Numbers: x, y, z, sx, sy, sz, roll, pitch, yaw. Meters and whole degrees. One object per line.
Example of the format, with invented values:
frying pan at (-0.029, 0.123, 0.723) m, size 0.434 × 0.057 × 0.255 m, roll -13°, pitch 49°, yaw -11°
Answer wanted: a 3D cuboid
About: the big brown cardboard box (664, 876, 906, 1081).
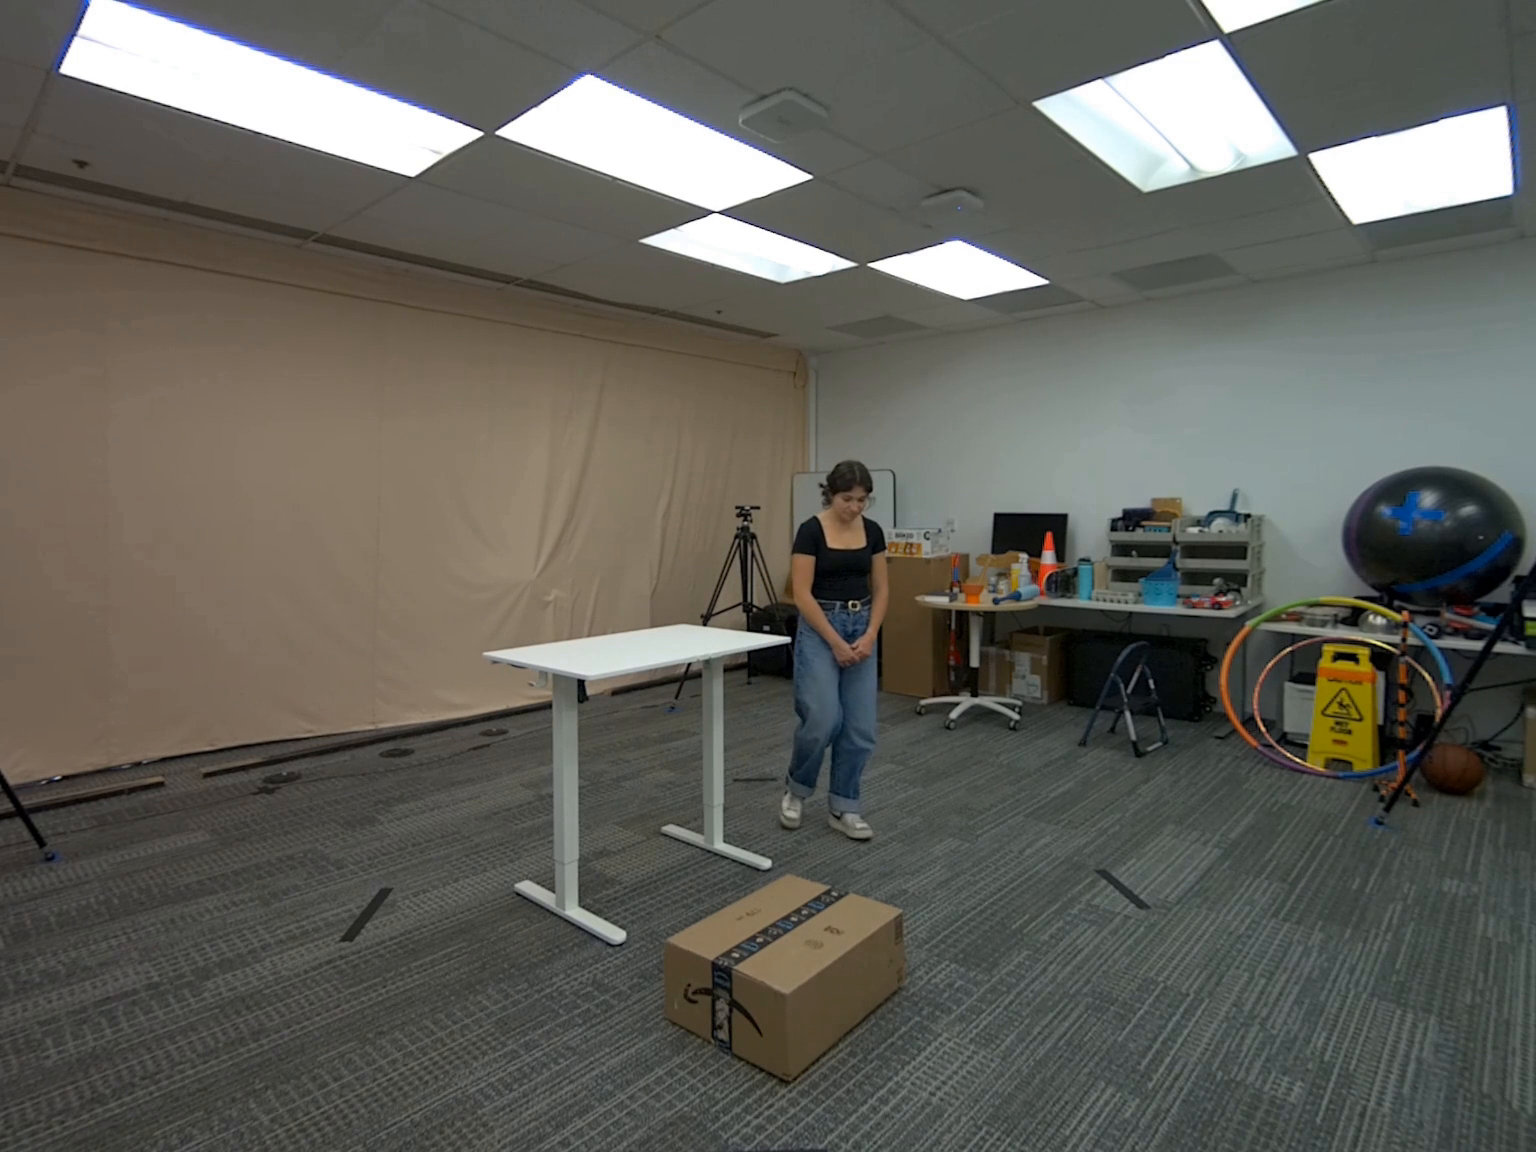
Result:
big brown cardboard box at (0.058, 1.086, 2.351) m, size 0.431 × 0.232 × 0.571 m, roll 2°, pitch 5°, yaw 40°
